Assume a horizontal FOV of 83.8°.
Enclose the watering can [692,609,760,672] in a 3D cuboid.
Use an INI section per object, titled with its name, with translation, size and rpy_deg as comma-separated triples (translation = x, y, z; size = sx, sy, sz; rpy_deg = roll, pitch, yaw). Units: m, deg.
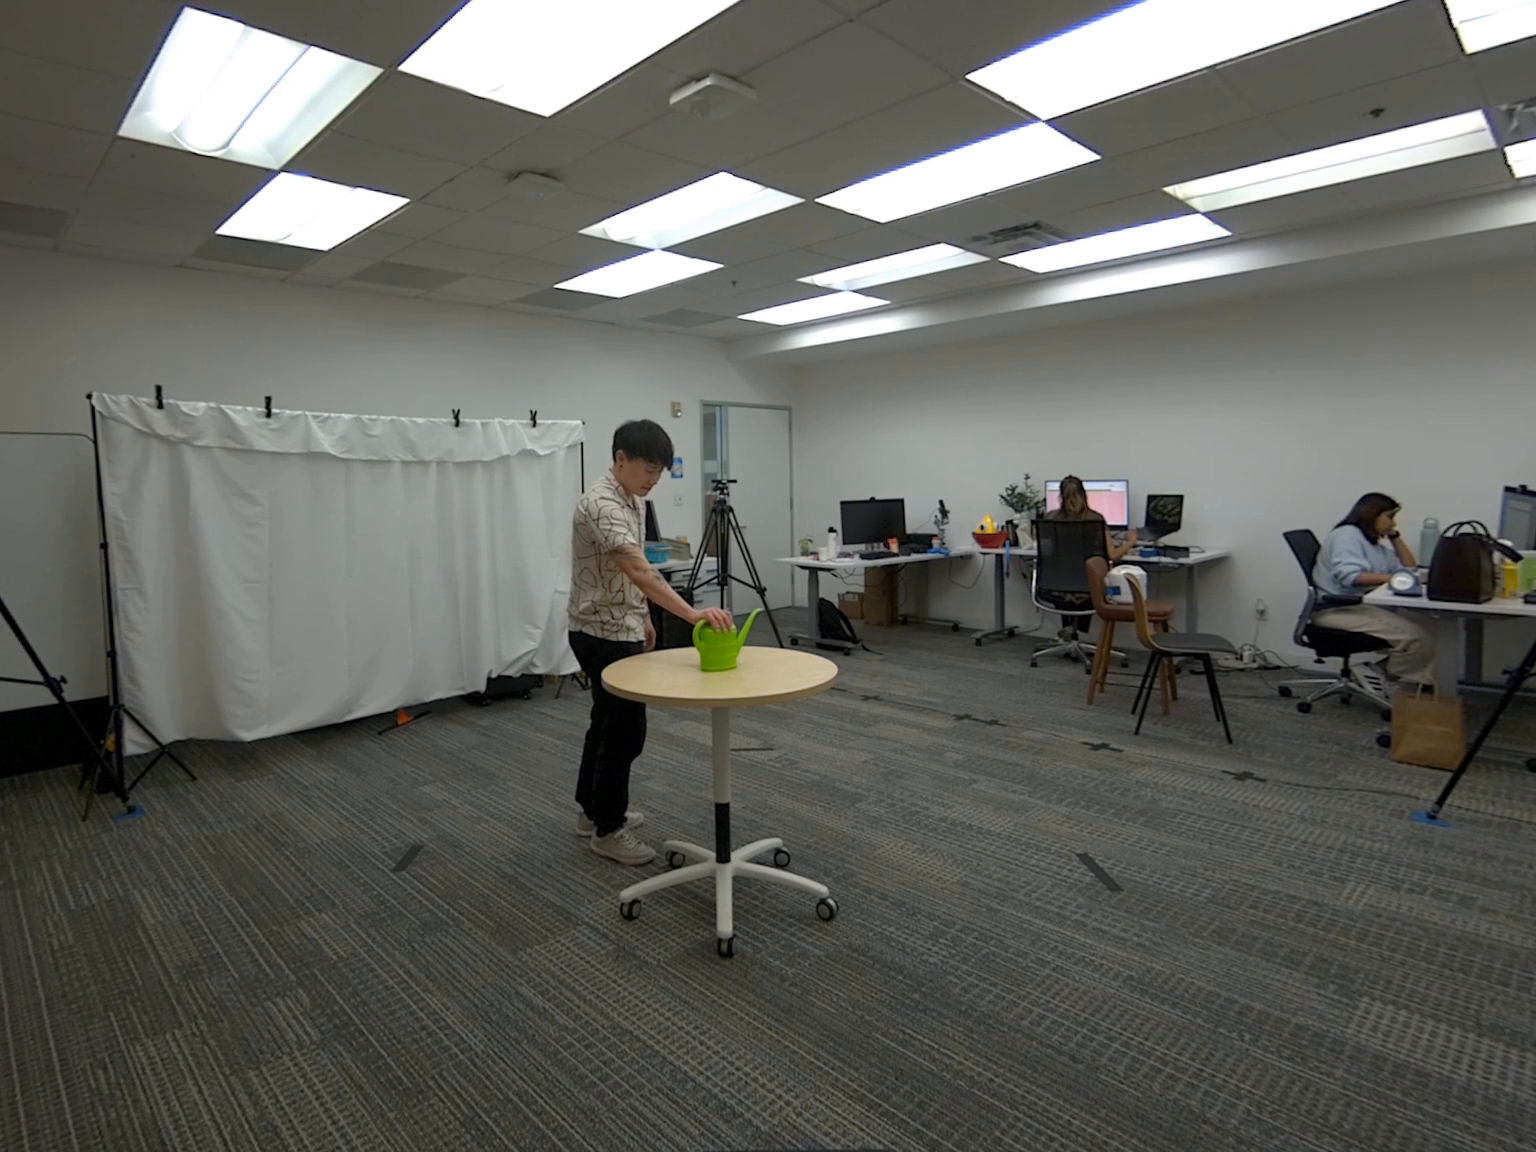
[watering can]
translation = -0.124, 0.211, 2.811
size = 0.273, 0.176, 0.100
rpy_deg = -7, 4, -23
